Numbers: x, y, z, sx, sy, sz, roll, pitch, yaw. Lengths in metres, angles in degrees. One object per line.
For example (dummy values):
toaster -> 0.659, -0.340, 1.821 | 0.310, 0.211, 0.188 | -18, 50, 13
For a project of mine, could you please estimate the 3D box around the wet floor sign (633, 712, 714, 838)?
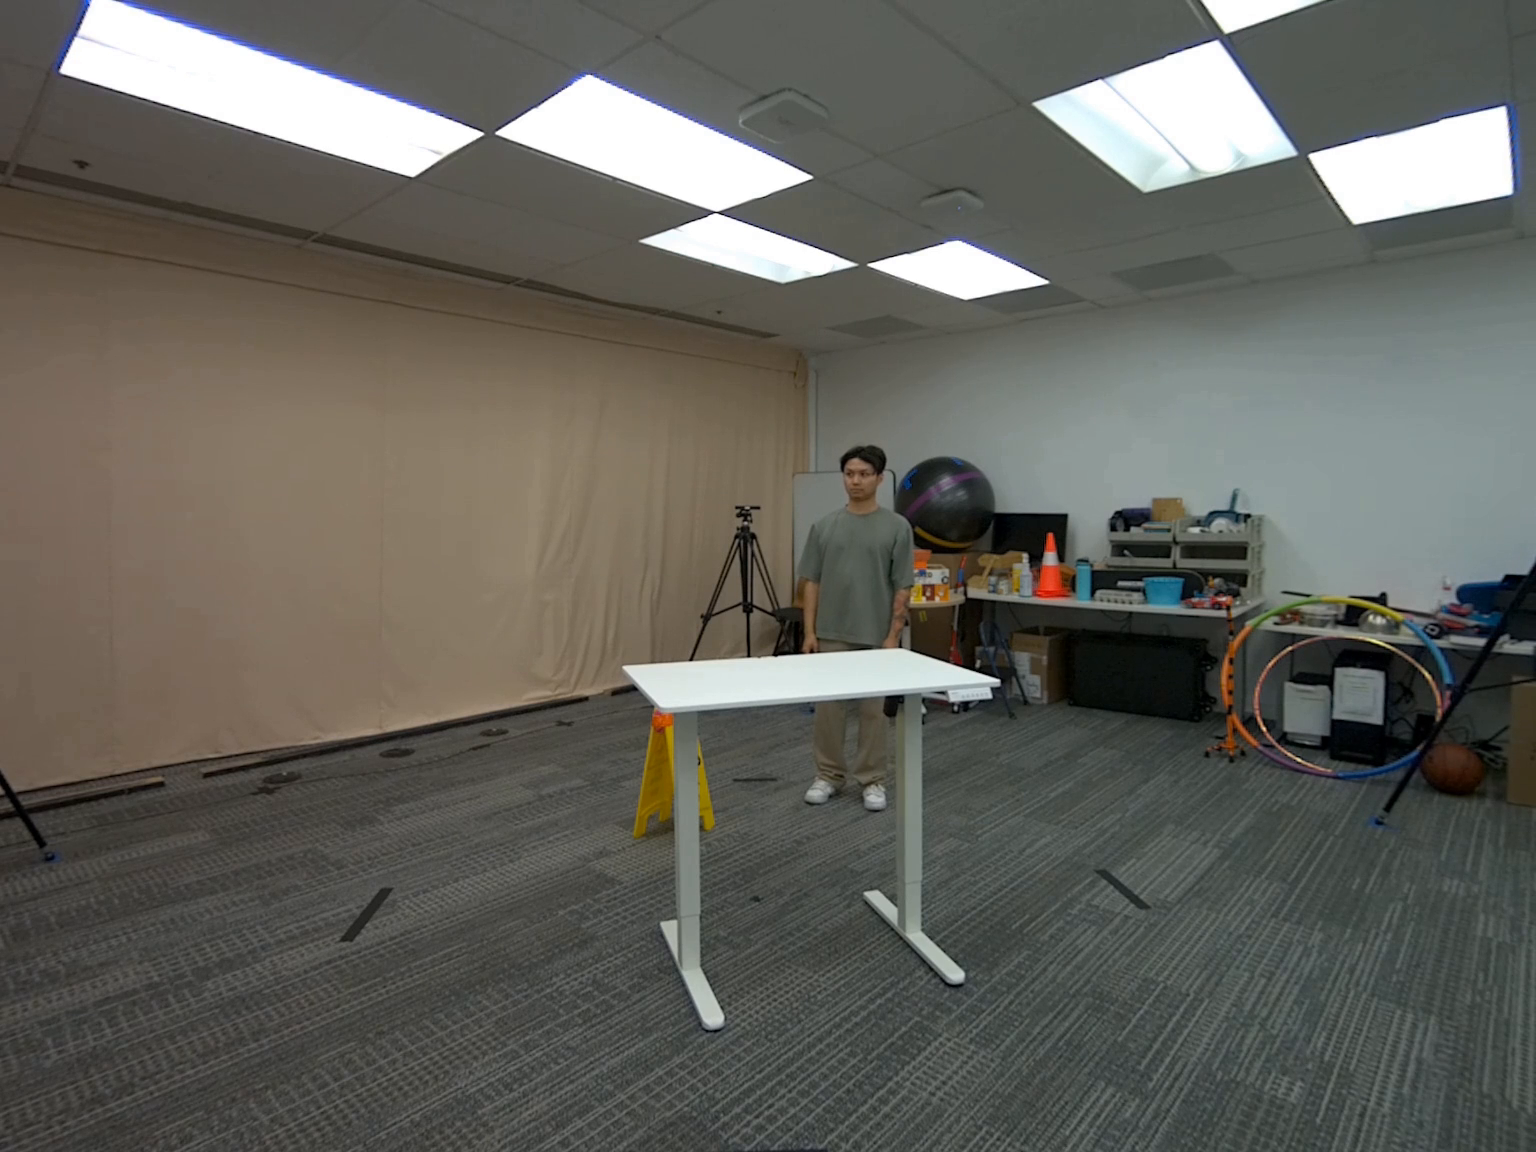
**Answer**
wet floor sign -> -0.403, 0.773, 3.589 | 0.297, 0.645, 0.275 | 0, 2, 25
